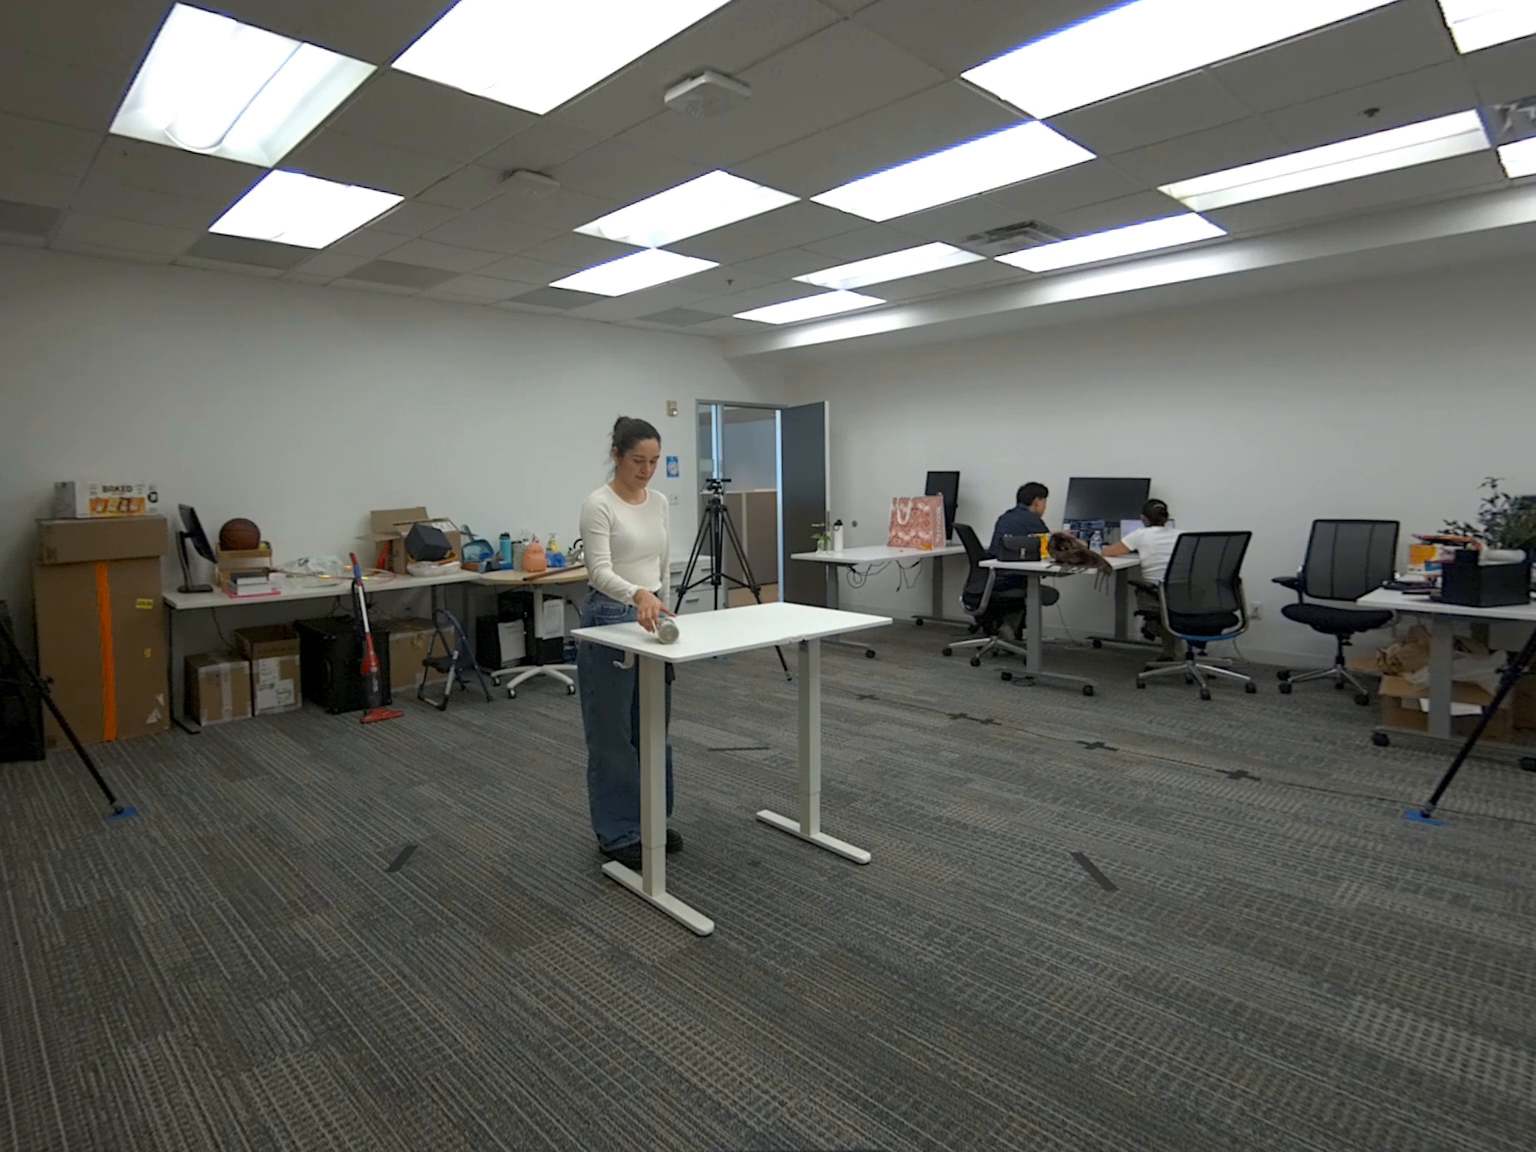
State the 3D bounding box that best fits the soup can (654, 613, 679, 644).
[{"bbox_3d":[-0.318,0.176,2.701,0.122,0.067,0.067,-1,5,1],"label":"soup can"}]
